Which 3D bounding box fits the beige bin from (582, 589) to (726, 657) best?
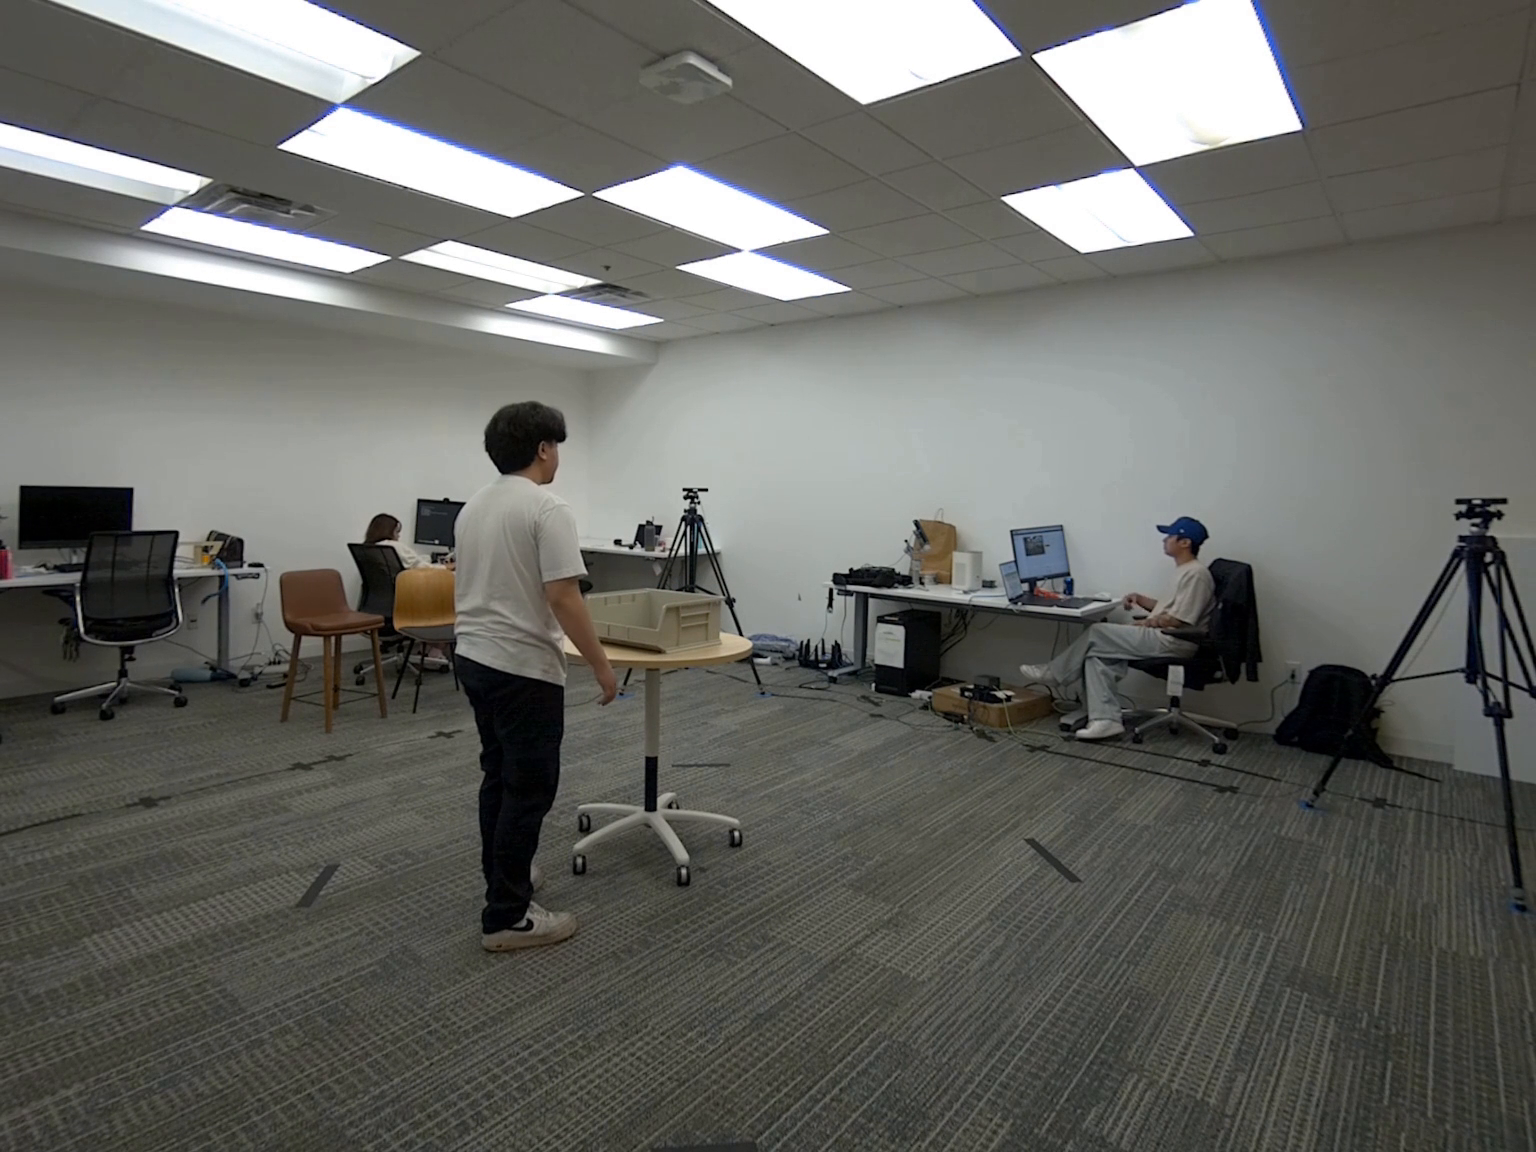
[{"bbox_3d":[-0.450,0.167,3.248,0.436,0.188,0.366,4,4,37],"label":"beige bin"}]
